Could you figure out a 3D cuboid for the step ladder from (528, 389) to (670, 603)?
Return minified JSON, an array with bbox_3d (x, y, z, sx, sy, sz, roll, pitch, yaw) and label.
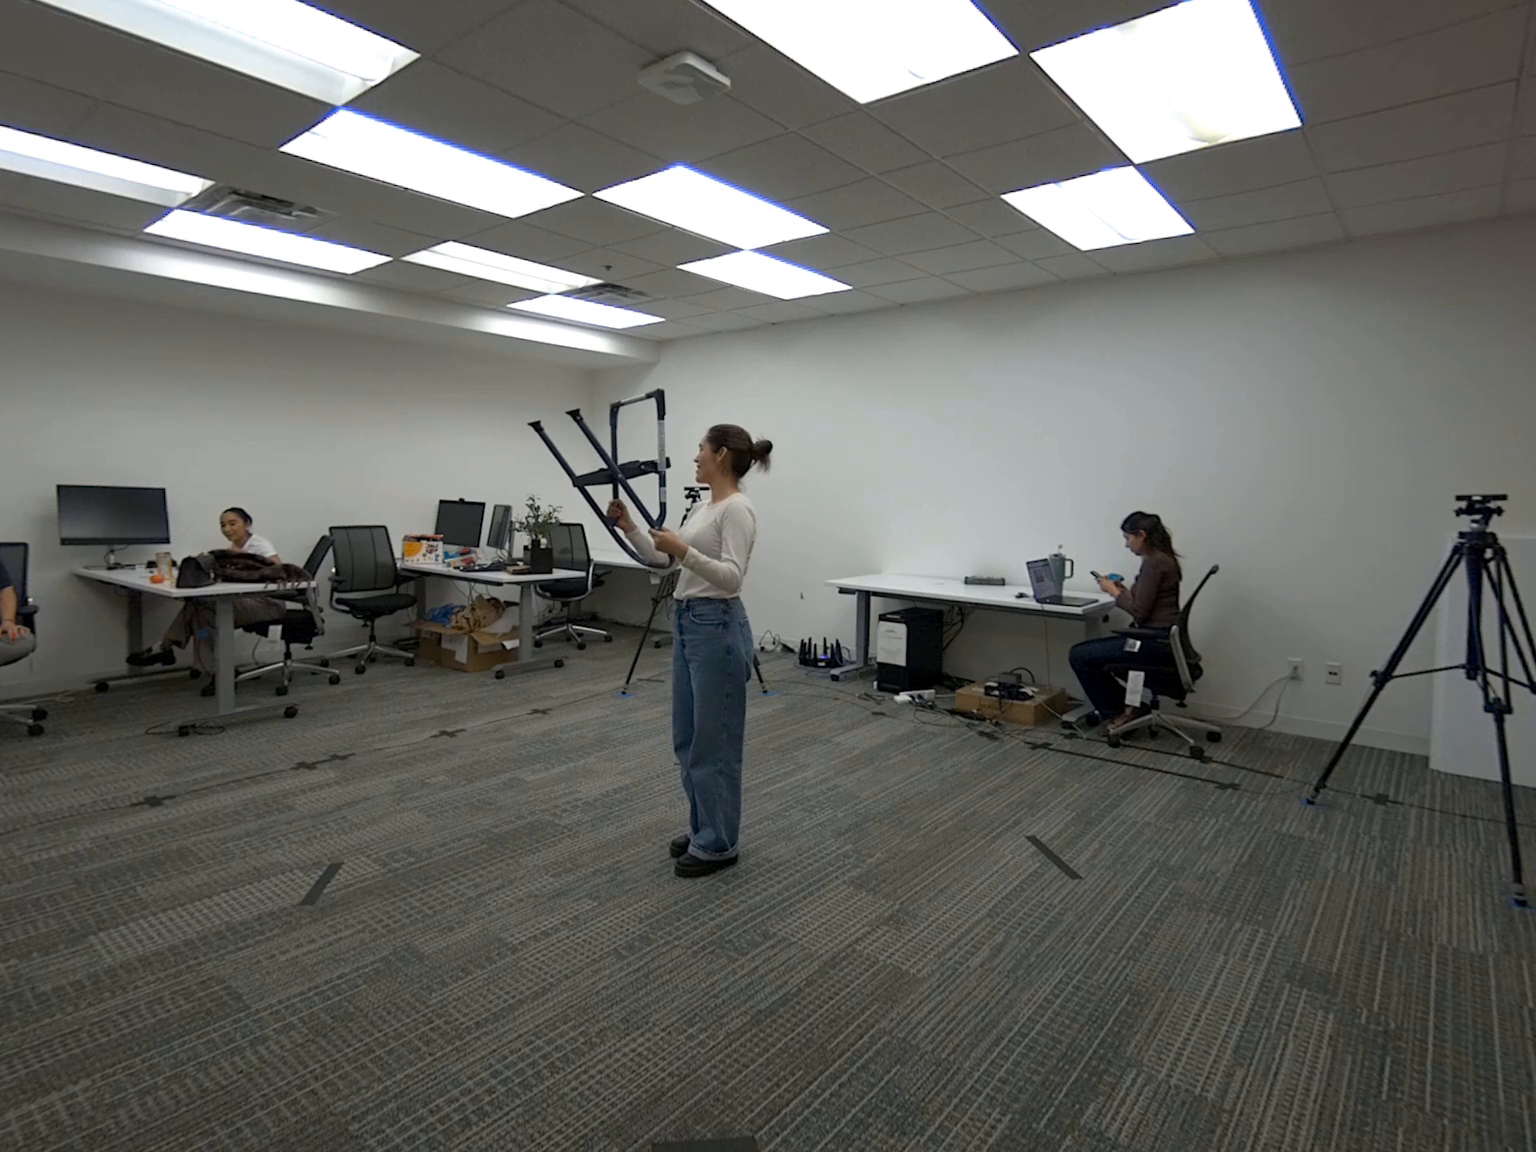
[{"bbox_3d":[-0.532,-0.300,2.947,0.343,0.598,0.443,-20,13,-29],"label":"step ladder"}]
